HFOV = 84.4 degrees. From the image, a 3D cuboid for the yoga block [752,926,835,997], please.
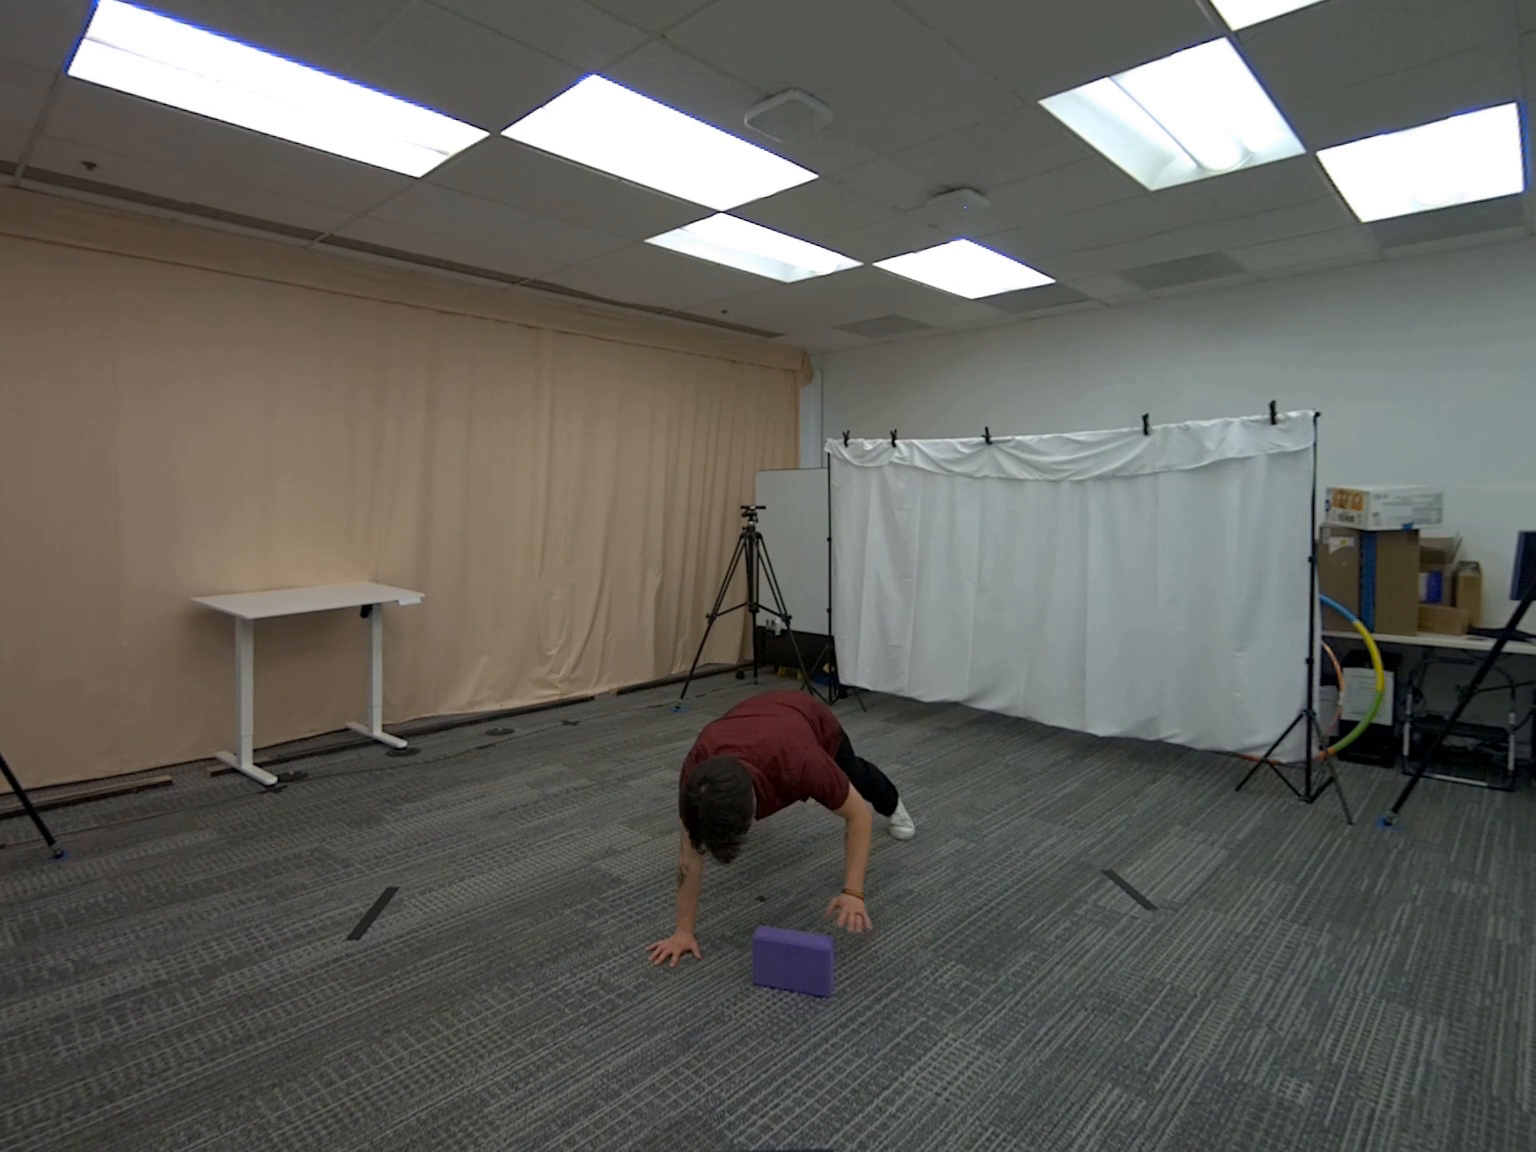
[{"bbox_3d":[0.078,1.113,2.438,0.234,0.148,0.075,1,6,19],"label":"yoga block"}]
